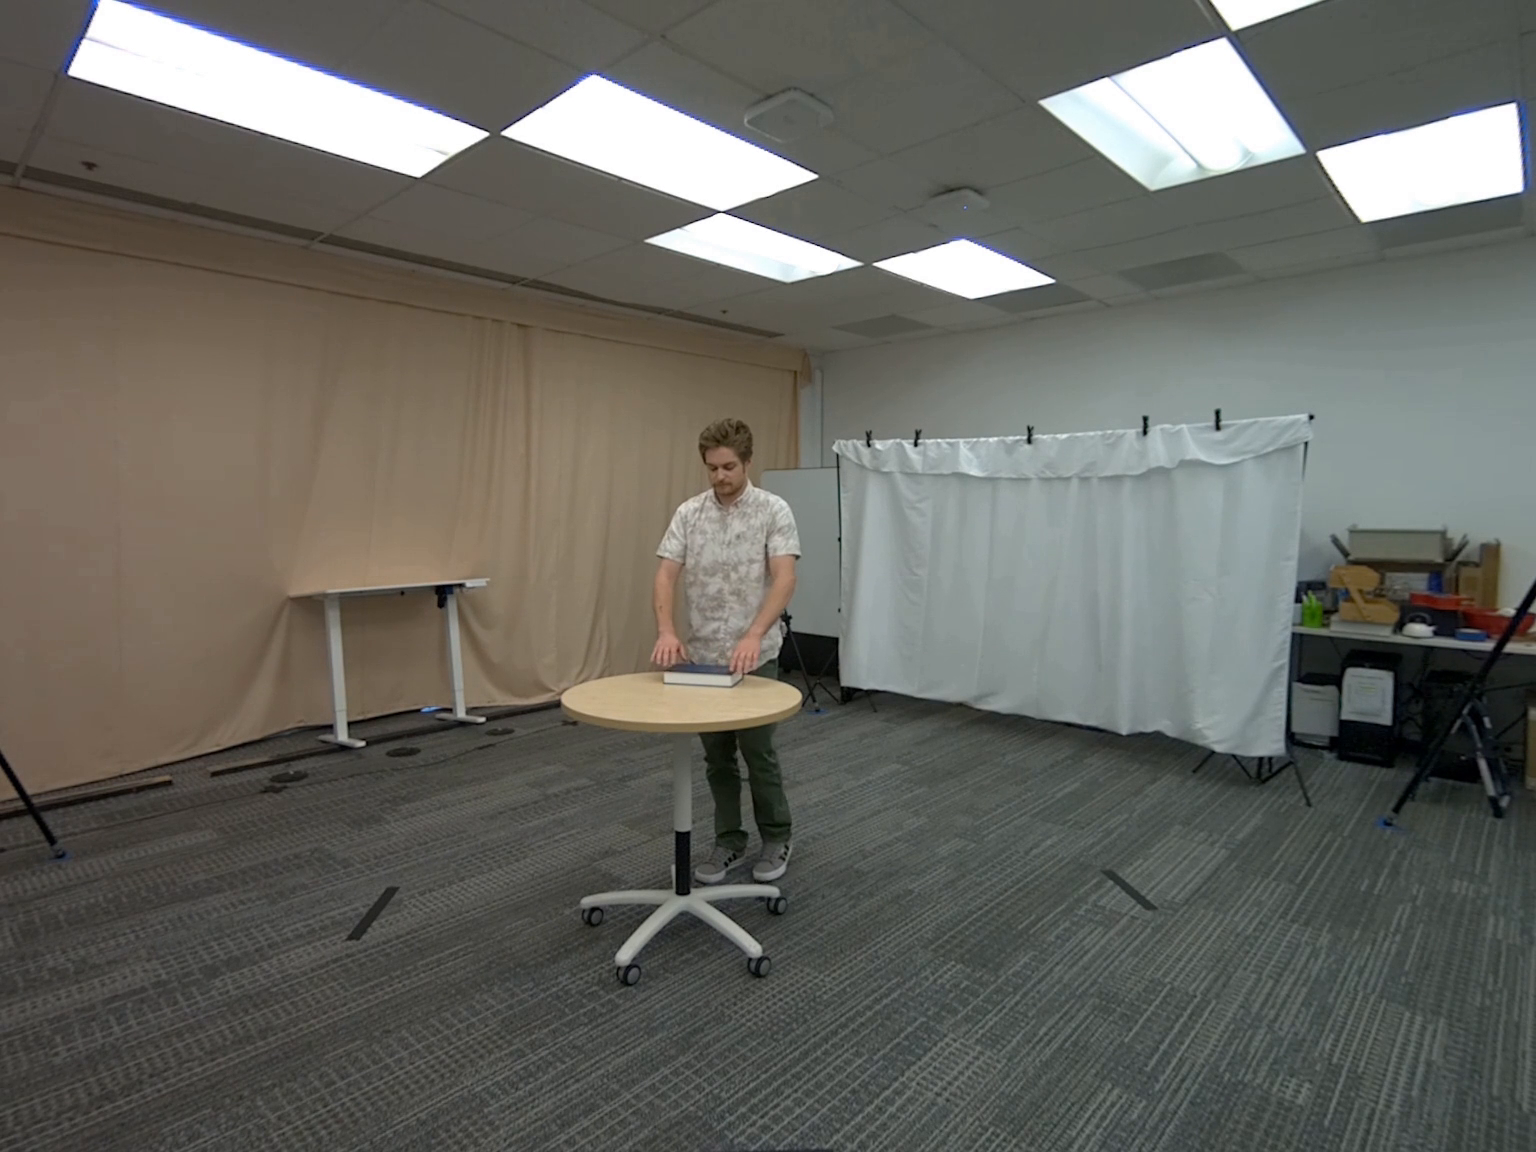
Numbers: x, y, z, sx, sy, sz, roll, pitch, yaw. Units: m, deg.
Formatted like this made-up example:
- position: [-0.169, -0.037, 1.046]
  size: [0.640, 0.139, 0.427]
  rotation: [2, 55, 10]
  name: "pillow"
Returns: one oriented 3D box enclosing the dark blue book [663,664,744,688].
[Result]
- position: [-0.222, 0.337, 2.903]
  size: [0.249, 0.045, 0.161]
  rotation: [1, 4, 15]
  name: "dark blue book"
